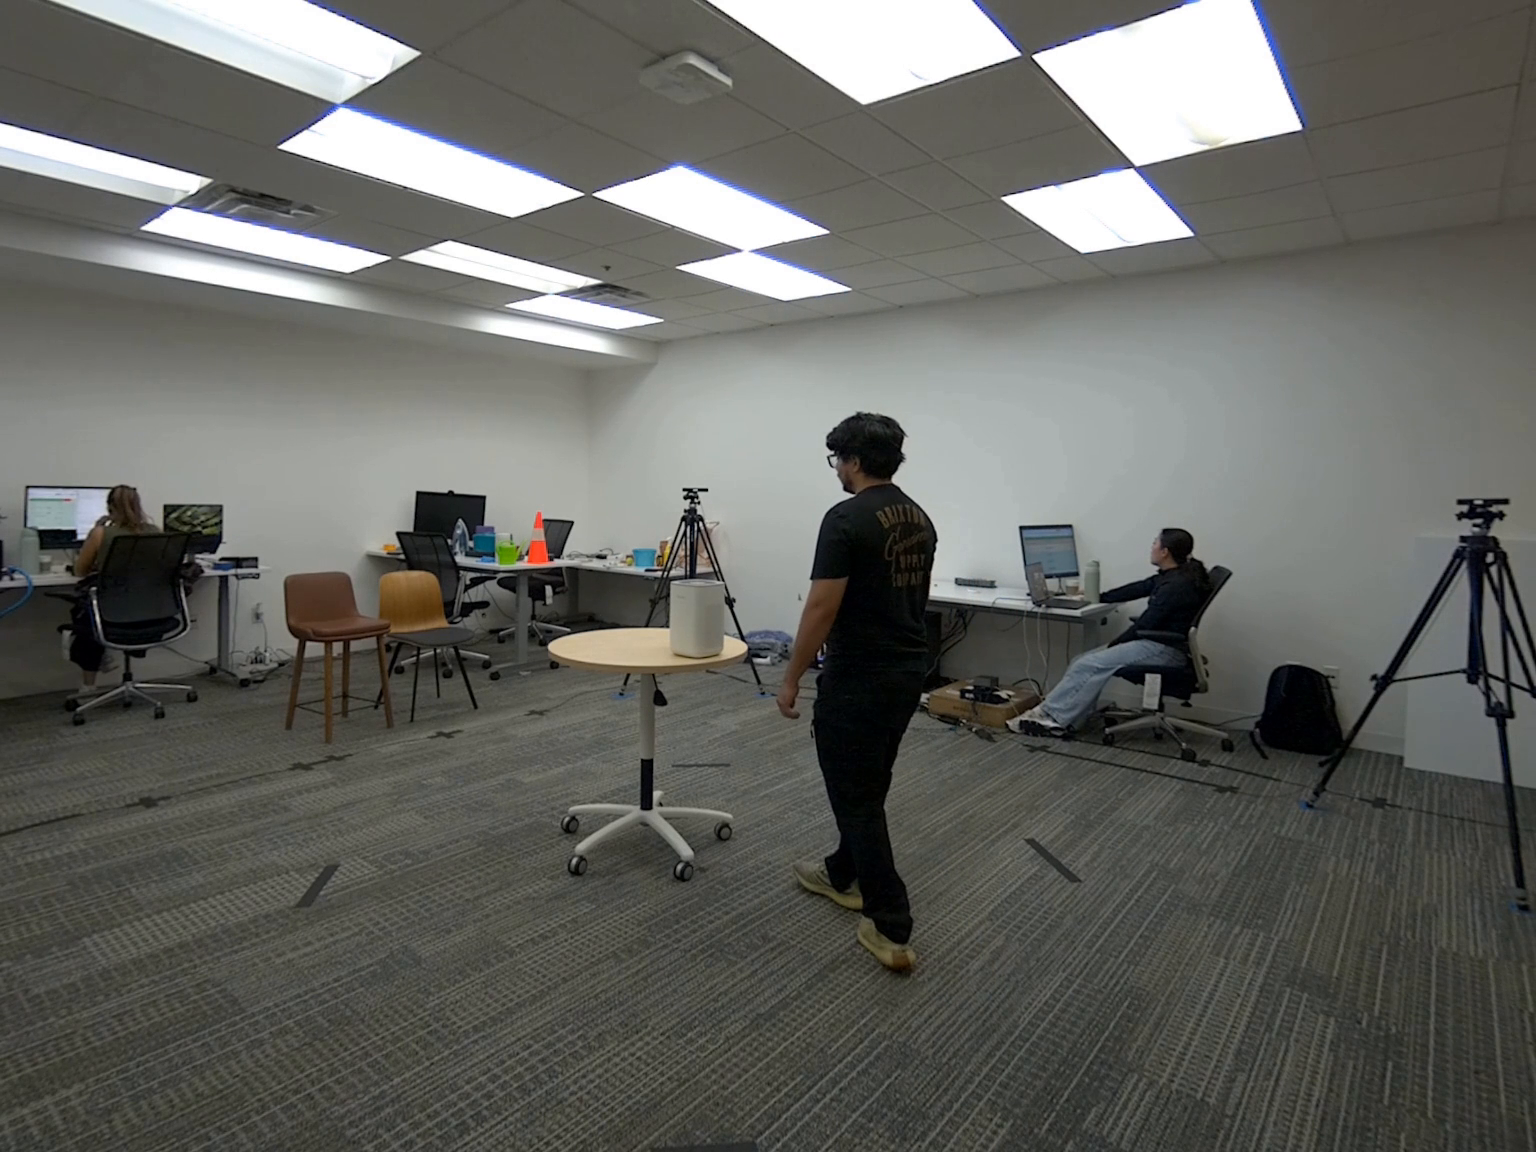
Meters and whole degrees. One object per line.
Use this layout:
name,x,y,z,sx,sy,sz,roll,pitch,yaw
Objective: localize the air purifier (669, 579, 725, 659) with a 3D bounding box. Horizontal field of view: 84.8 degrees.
air purifier,-0.270,0.150,3.119,0.177,0.264,0.166,5,5,39
